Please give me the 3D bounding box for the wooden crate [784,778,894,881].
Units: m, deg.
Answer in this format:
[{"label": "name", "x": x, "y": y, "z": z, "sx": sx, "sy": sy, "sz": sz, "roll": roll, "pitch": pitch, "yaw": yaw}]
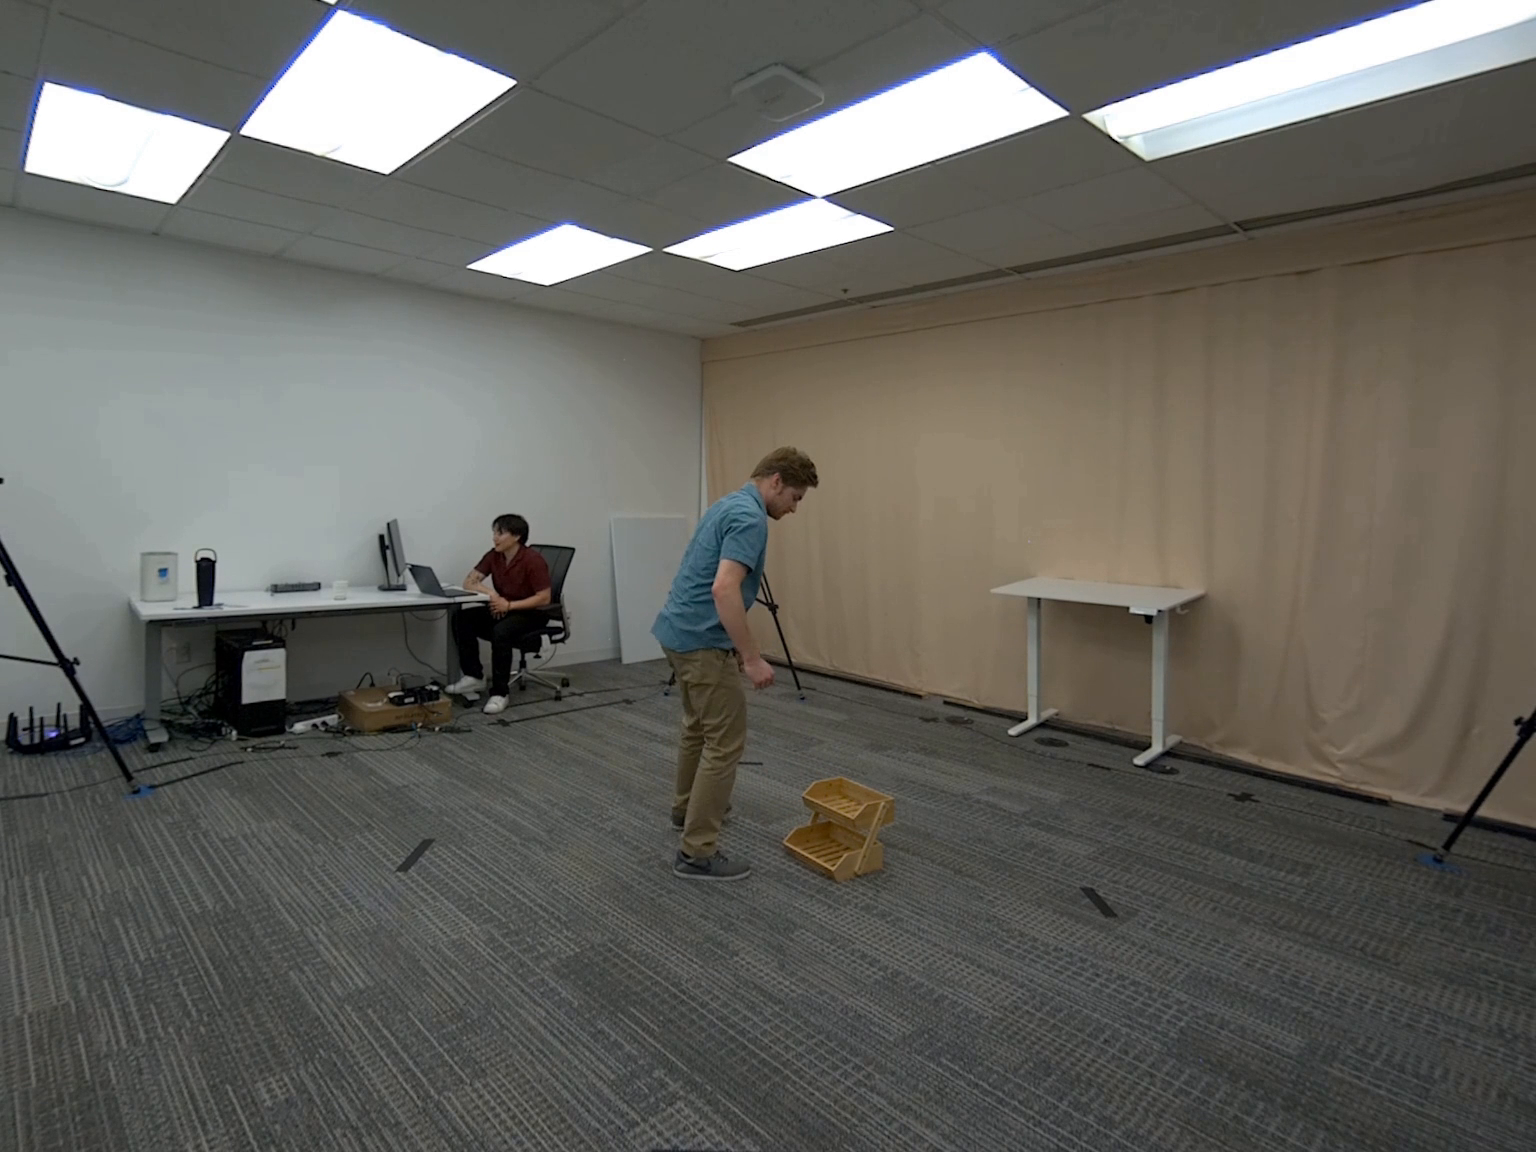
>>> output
[{"label": "wooden crate", "x": 0.263, "y": 0.967, "z": 3.260, "sx": 0.295, "sy": 0.273, "sz": 0.332, "roll": 0, "pitch": 4, "yaw": -36}]
